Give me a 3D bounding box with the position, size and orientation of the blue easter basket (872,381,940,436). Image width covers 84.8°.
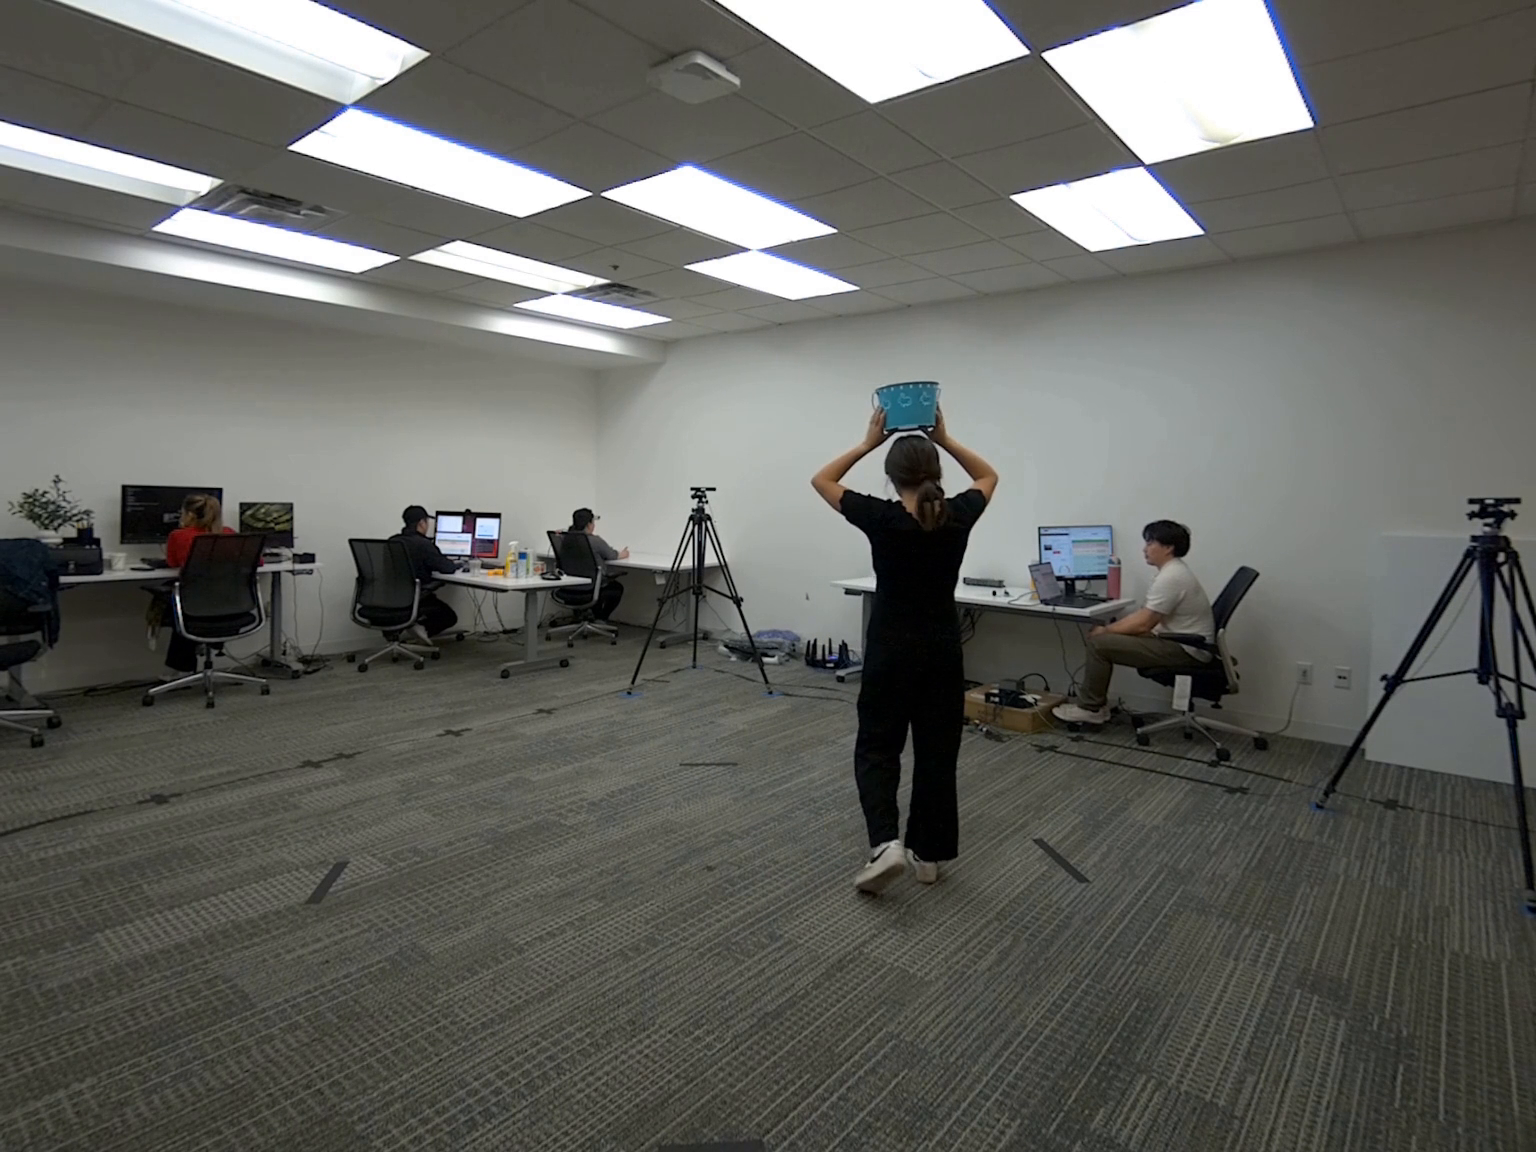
[{"bbox_3d":[0.511,-0.616,3.091,0.243,0.155,0.245,-4,6,-1],"label":"blue easter basket"}]
